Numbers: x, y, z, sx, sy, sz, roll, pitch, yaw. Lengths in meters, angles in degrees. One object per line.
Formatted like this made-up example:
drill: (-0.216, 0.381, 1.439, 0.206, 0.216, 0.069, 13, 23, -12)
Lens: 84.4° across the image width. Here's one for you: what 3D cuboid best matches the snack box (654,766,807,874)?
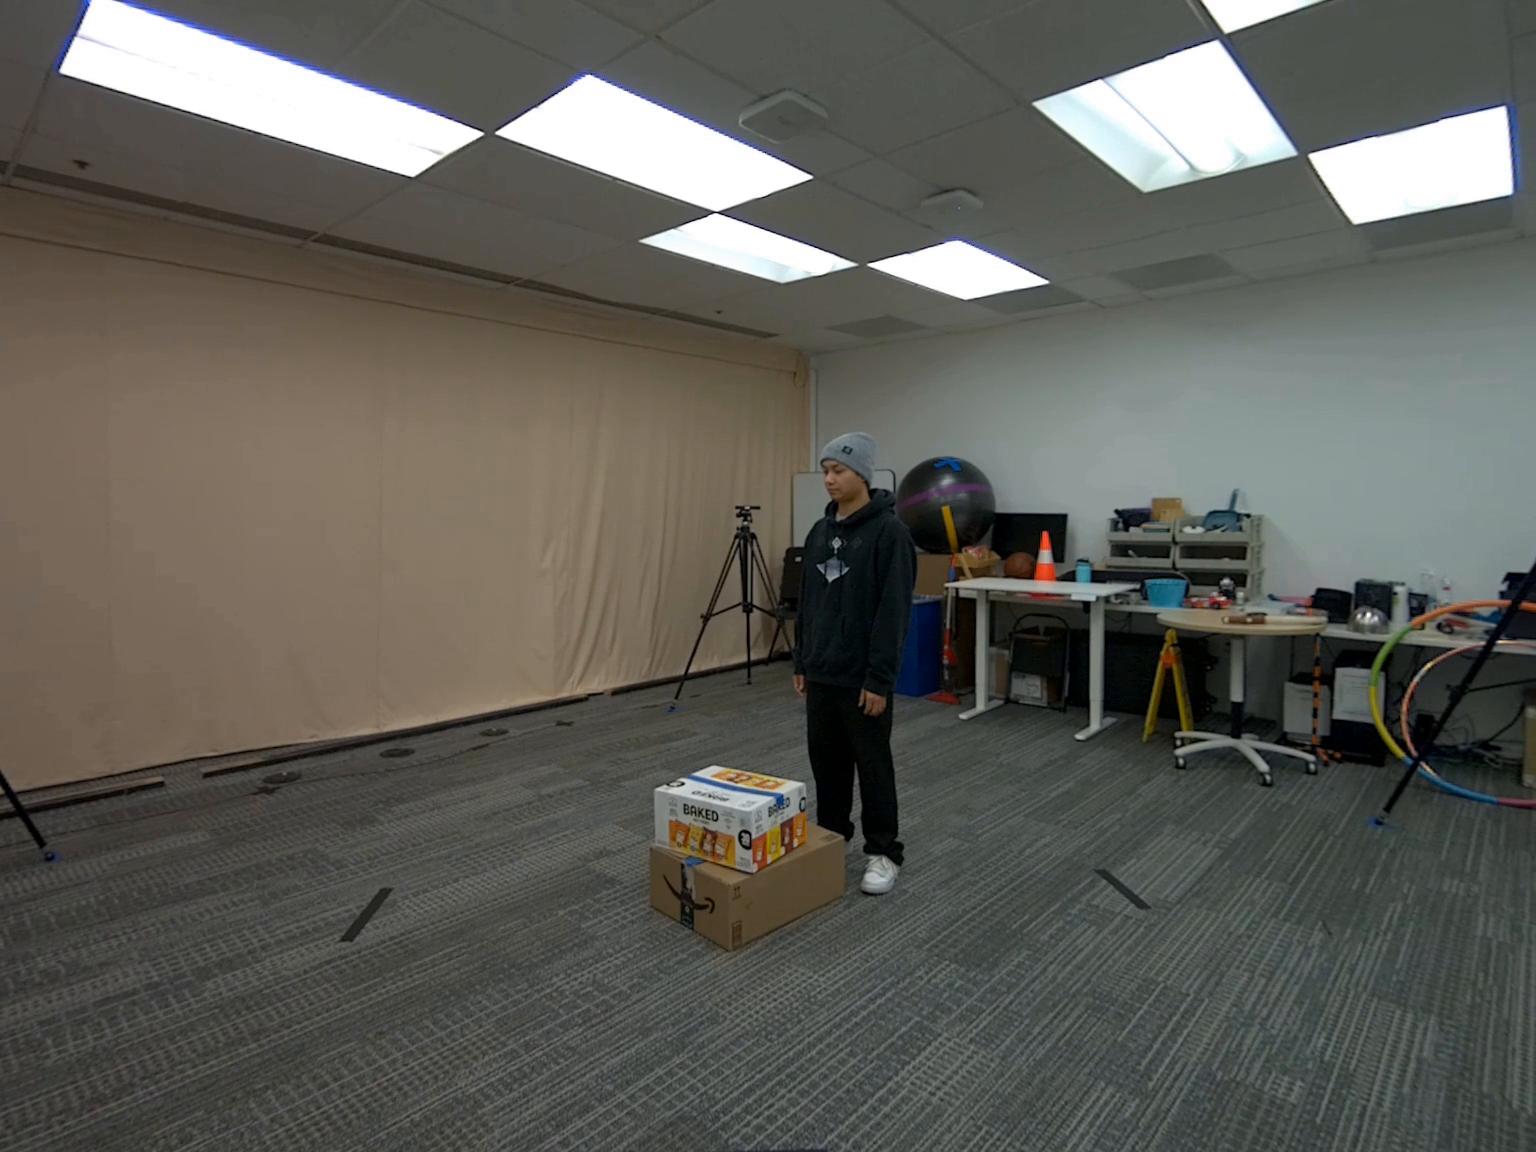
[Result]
snack box: (-0.125, 0.831, 2.920, 0.418, 0.205, 0.330, 2, 4, 35)
